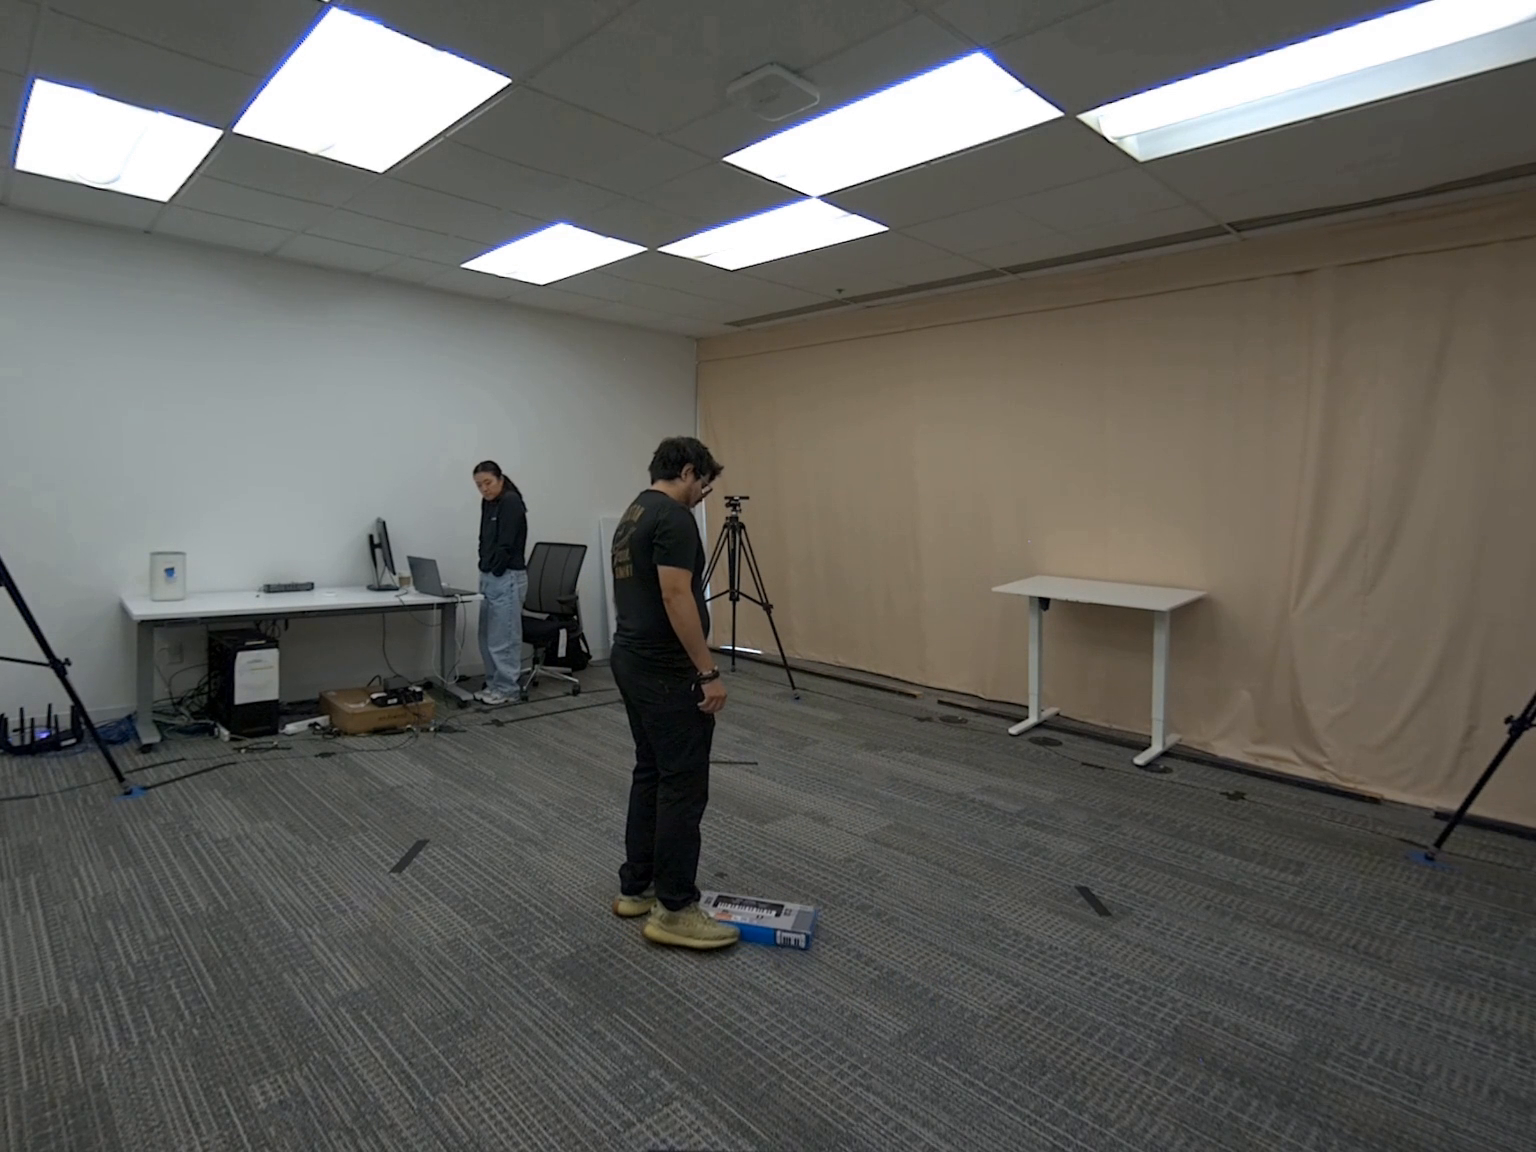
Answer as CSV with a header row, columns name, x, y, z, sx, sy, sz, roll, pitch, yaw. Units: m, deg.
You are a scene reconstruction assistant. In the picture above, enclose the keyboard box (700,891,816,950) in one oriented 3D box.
name,x,y,z,sx,sy,sz,roll,pitch,yaw
keyboard box,-0.075,1.116,2.719,0.442,0.059,0.174,3,6,15
